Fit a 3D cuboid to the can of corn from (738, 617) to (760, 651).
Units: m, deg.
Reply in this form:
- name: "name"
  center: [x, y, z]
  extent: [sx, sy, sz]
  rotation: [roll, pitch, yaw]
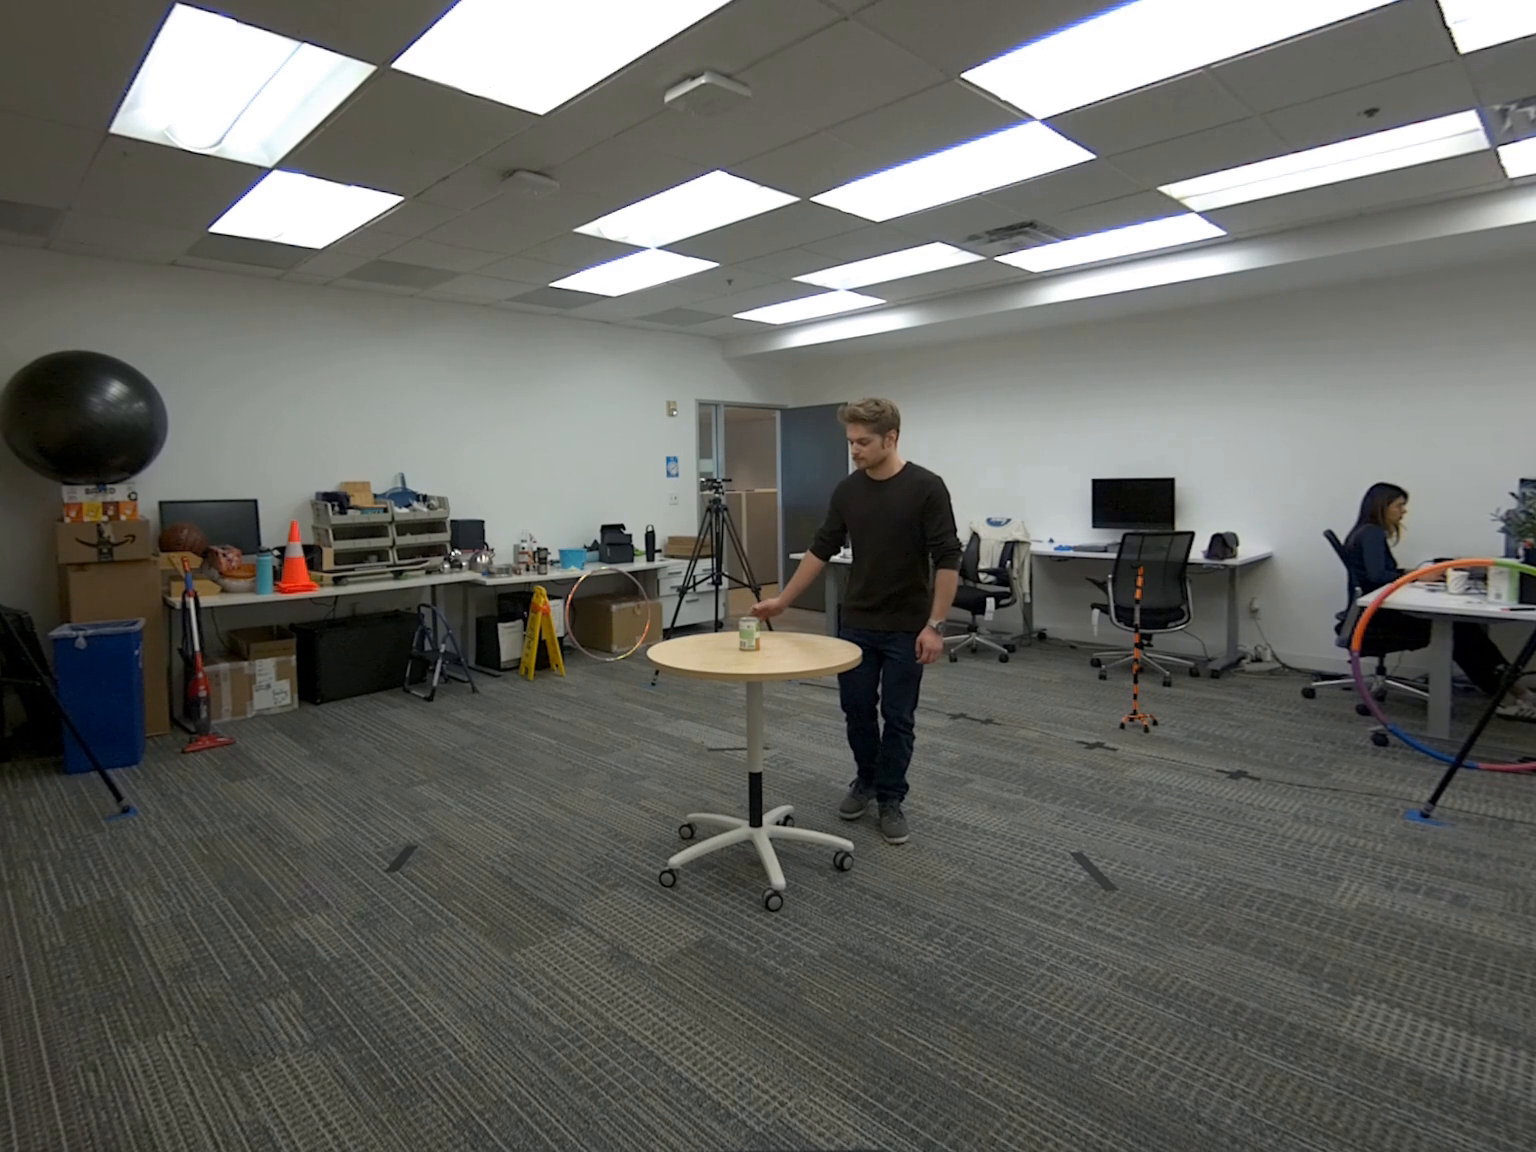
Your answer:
- name: "can of corn"
  center: [-0.068, 0.209, 3.064]
  extent: [0.074, 0.111, 0.074]
  rotation: [0, 3, -2]
